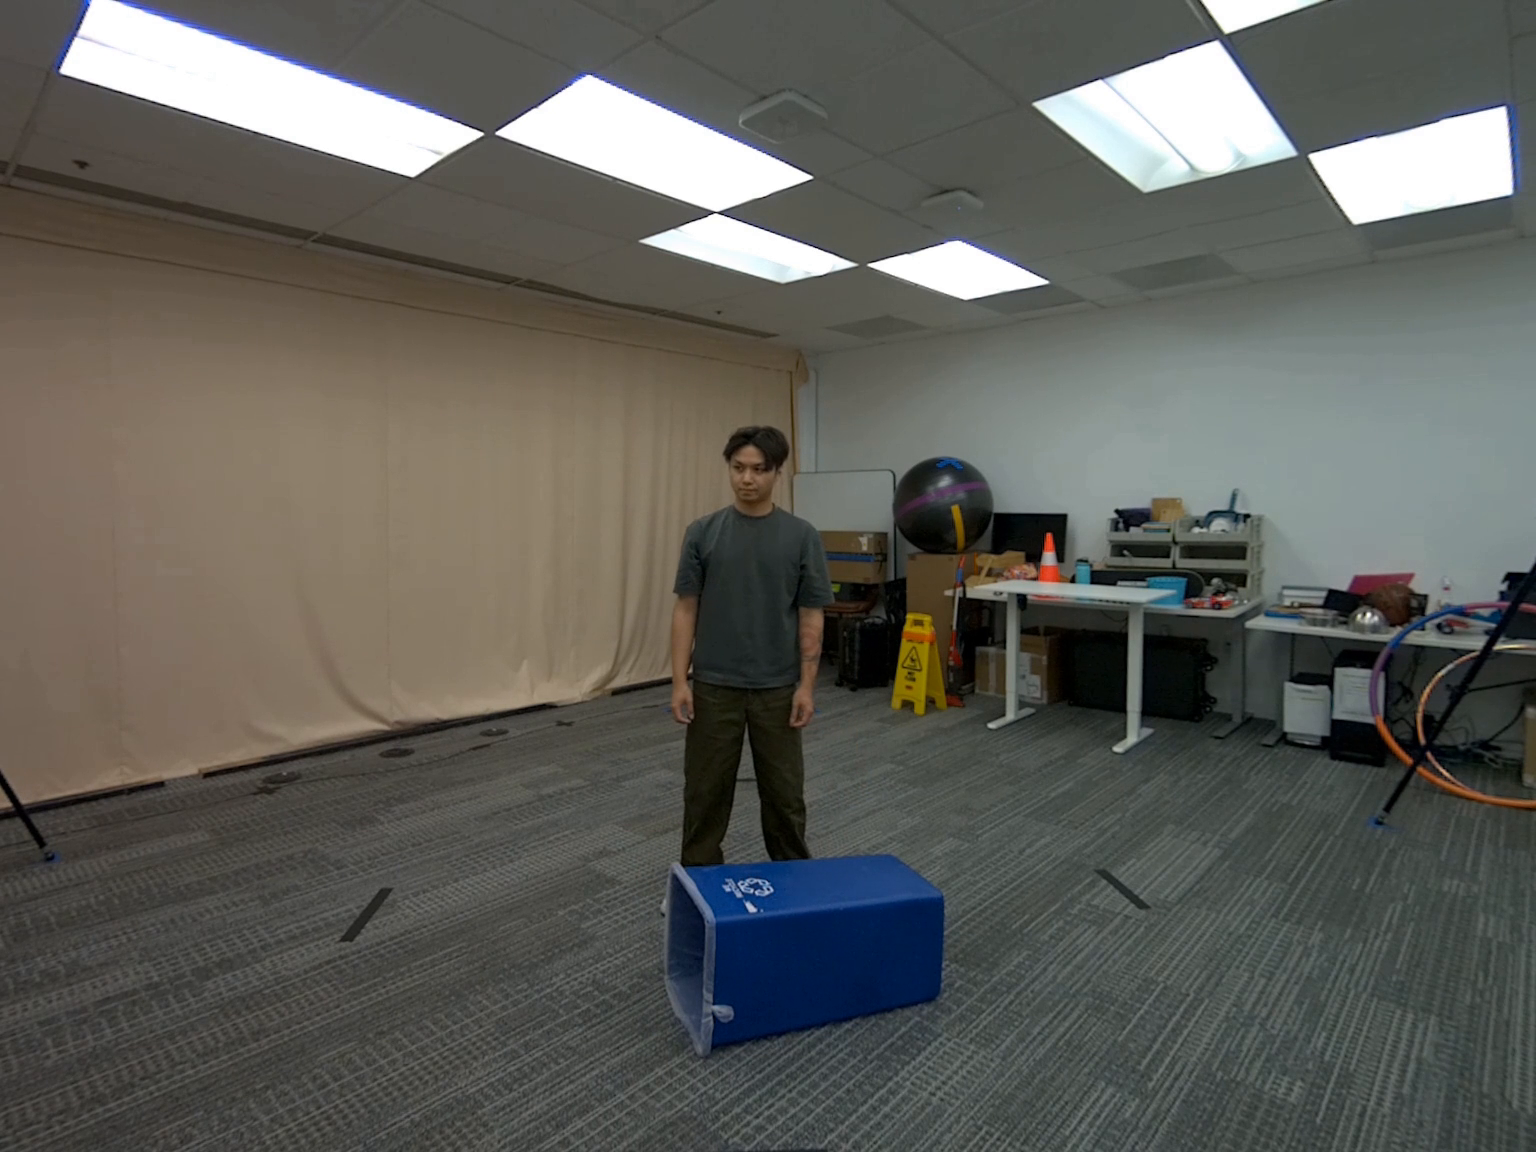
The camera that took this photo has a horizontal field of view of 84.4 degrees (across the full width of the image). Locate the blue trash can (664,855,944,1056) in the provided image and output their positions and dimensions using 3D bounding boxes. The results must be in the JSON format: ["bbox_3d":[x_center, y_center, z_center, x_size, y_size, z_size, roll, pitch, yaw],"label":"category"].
[{"bbox_3d":[0.111,1.017,2.388,0.699,0.373,0.386,0,3,-20],"label":"blue trash can"}]
